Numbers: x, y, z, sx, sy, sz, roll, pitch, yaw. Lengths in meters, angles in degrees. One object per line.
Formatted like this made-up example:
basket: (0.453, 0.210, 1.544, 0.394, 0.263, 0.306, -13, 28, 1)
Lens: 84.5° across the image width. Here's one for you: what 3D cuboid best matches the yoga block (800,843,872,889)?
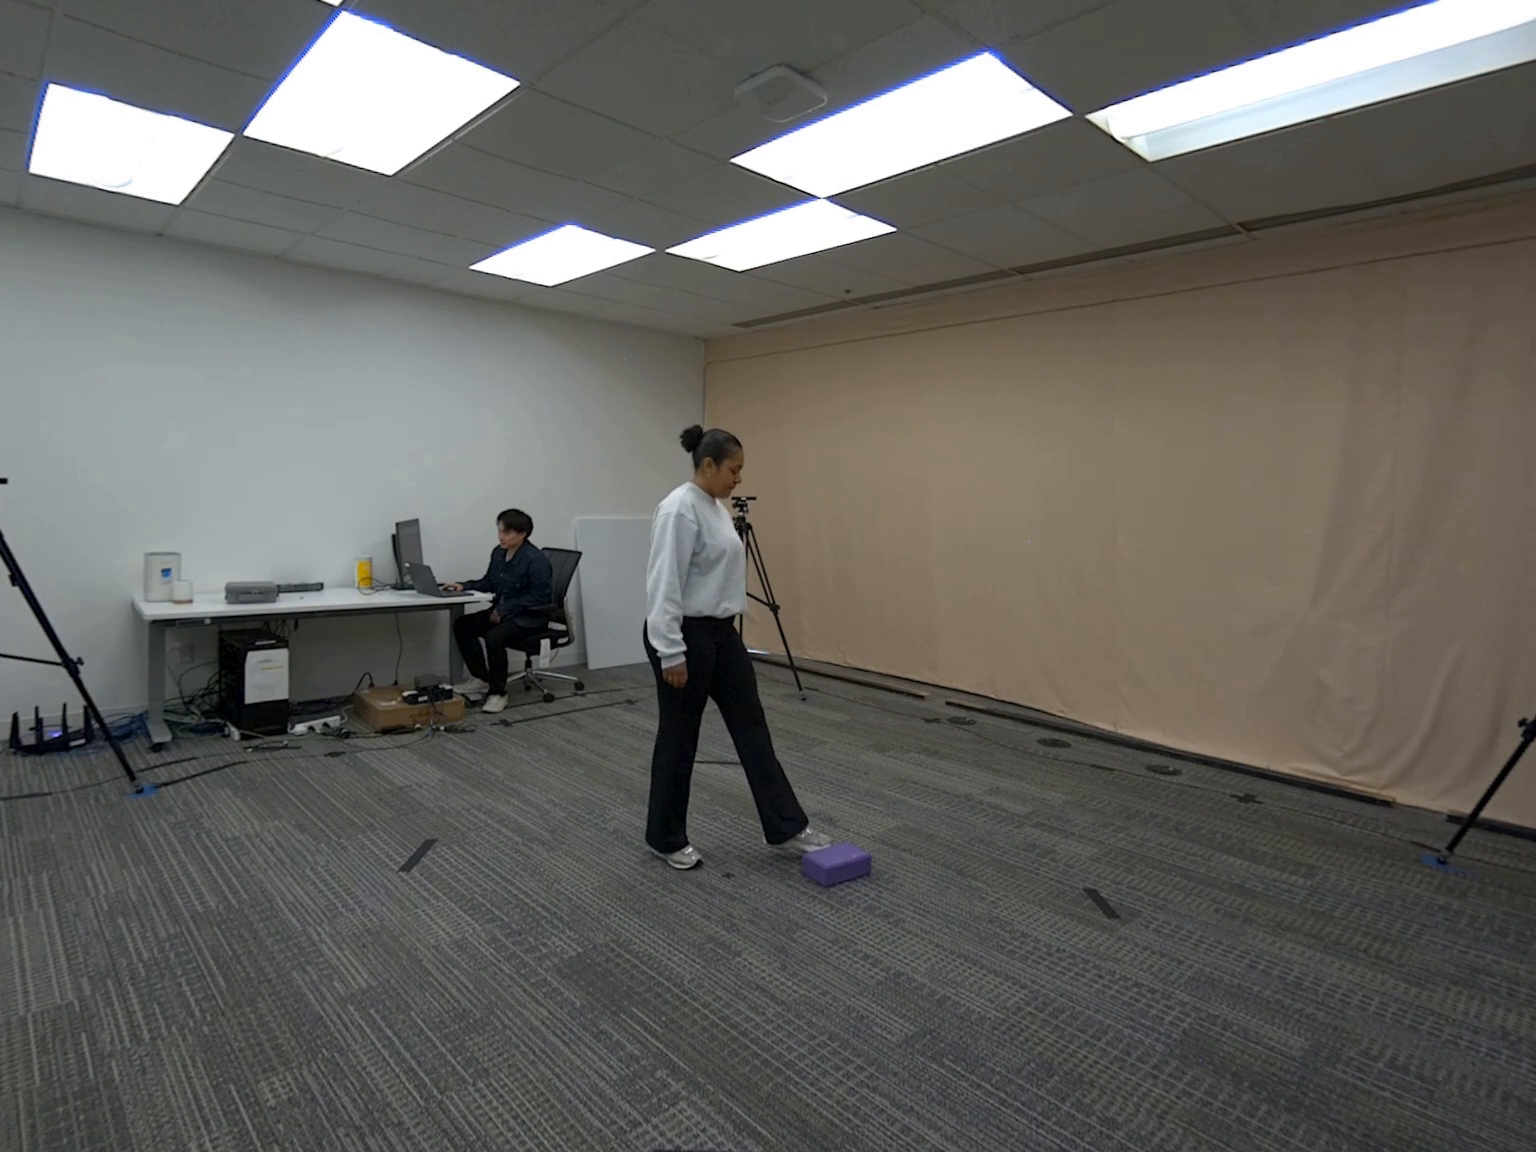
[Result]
yoga block: (0.237, 1.065, 3.153, 0.224, 0.076, 0.153, -1, 8, -34)
